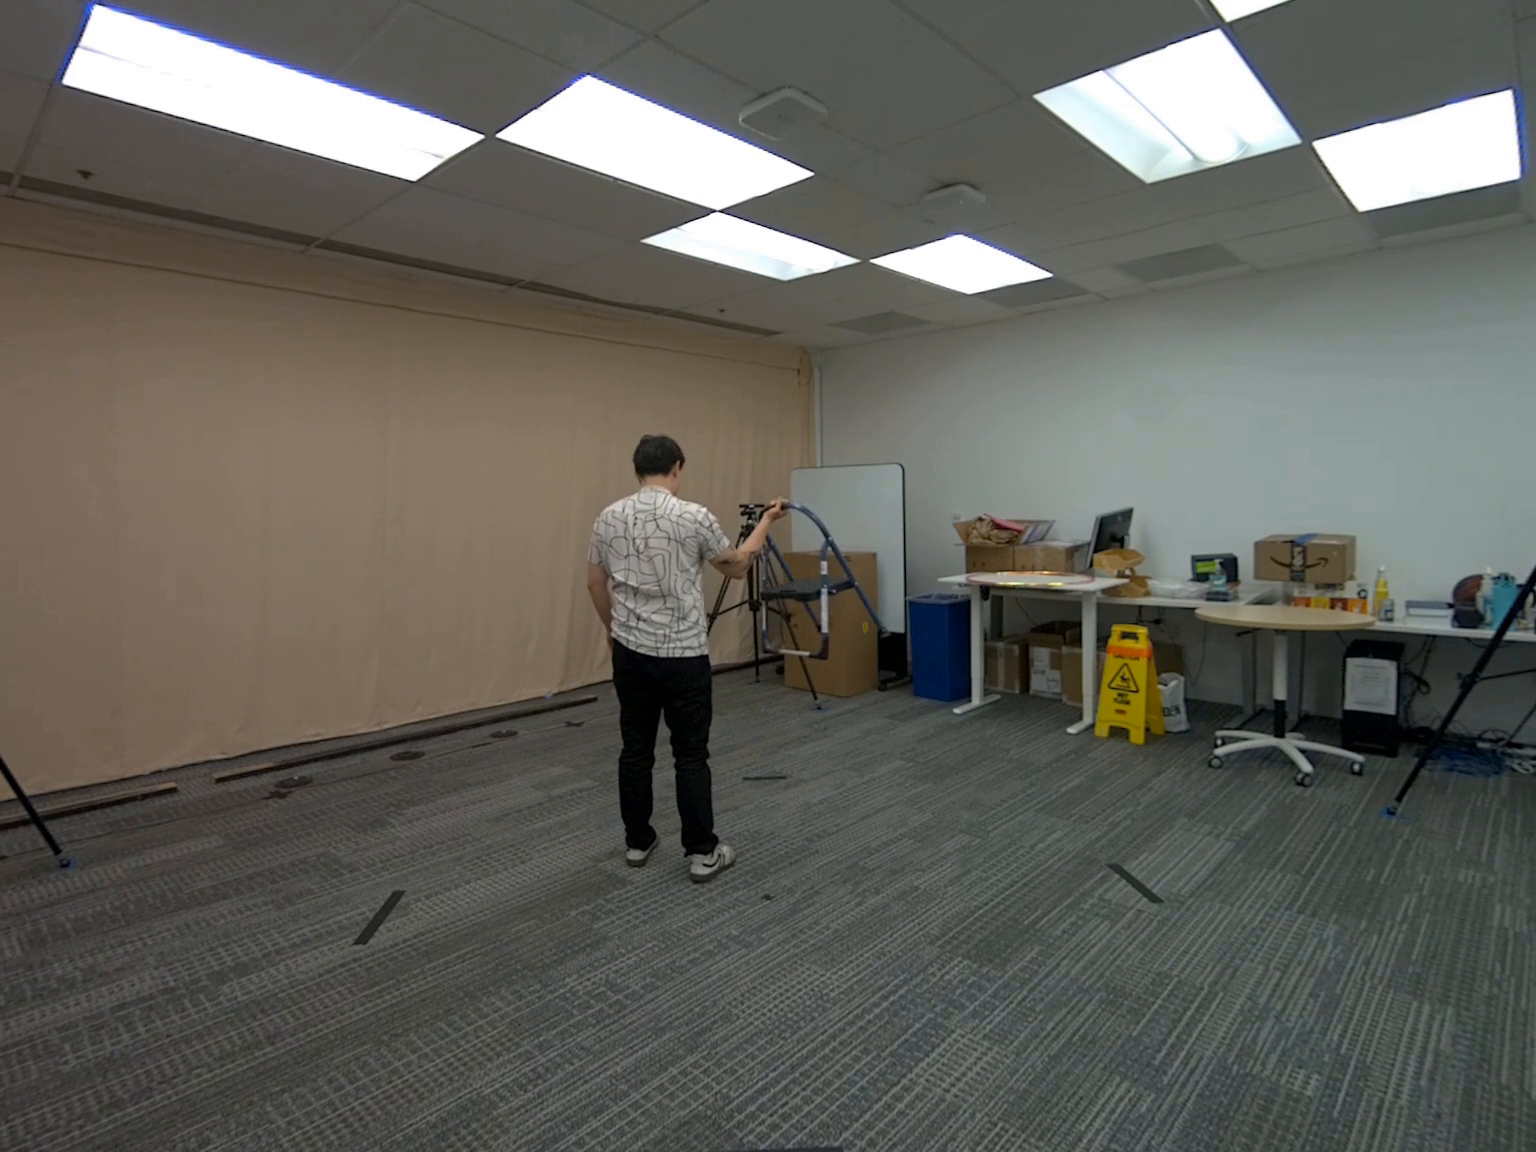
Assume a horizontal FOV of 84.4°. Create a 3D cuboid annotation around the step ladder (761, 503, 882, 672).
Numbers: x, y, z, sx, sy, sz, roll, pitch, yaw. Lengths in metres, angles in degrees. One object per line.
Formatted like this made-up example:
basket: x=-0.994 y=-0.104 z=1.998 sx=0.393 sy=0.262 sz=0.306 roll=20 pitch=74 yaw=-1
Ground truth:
step ladder: x=0.145 y=-0.004 z=3.420 sx=0.341 sy=0.603 sz=0.443 roll=-16 pitch=6 yaw=-34
